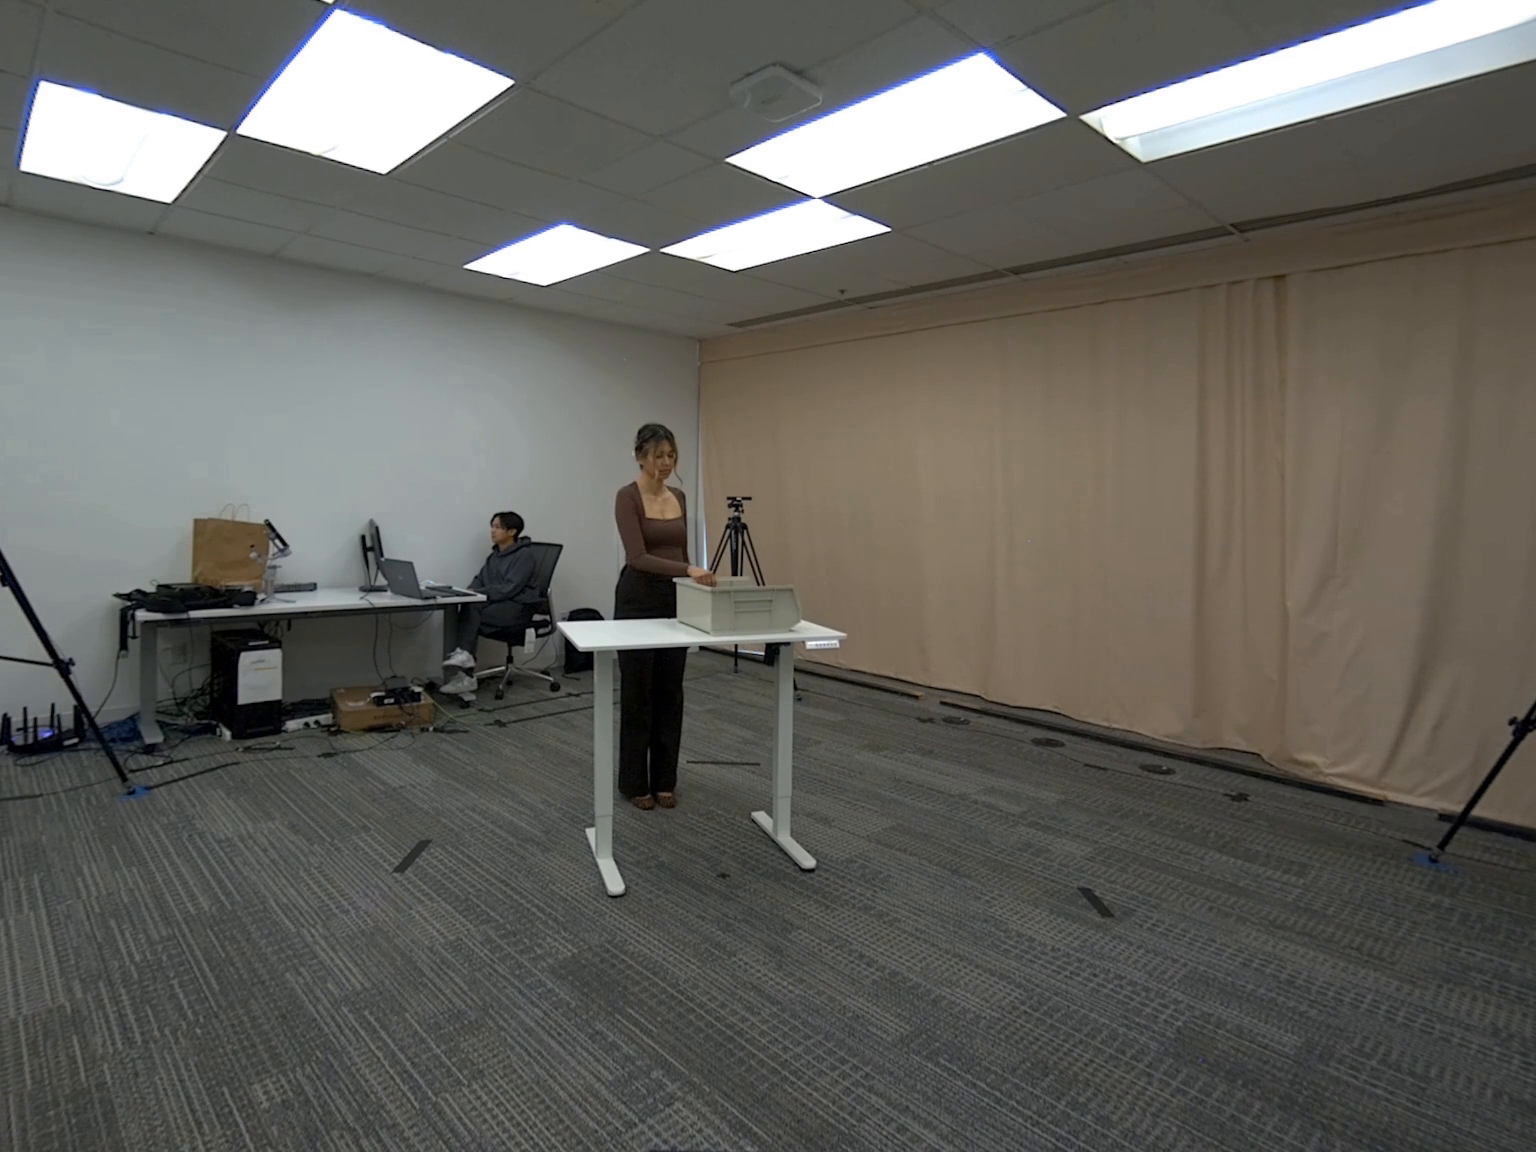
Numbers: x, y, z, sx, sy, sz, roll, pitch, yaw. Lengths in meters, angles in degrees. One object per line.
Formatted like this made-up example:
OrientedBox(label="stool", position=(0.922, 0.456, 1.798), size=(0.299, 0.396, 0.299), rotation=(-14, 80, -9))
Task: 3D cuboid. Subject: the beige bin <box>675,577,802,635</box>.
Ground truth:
OrientedBox(label="beige bin", position=(-0.134, 0.112, 3.326), size=(0.371, 0.188, 0.431), rotation=(-2, 6, -24))
